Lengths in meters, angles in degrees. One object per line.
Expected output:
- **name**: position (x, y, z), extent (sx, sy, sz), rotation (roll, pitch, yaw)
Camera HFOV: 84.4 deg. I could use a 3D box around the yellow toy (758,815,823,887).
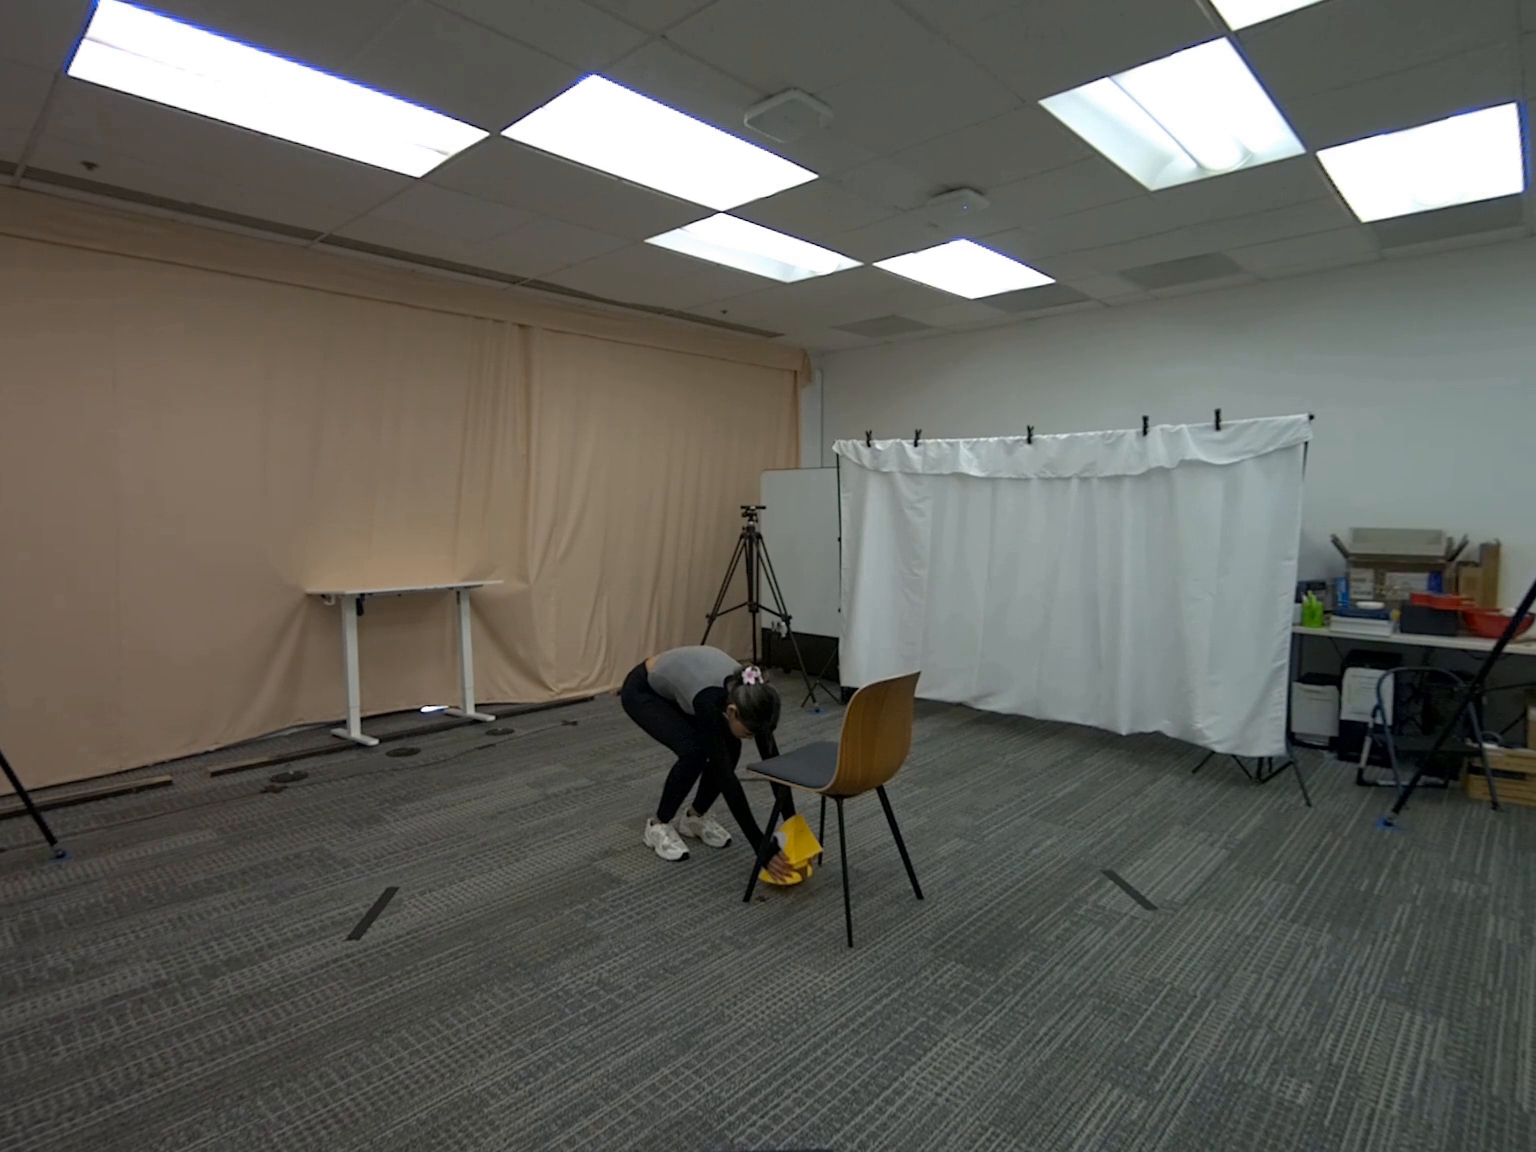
- **yellow toy**: position (0.071, 0.988, 3.090), extent (0.198, 0.231, 0.198), rotation (-5, -4, 34)
